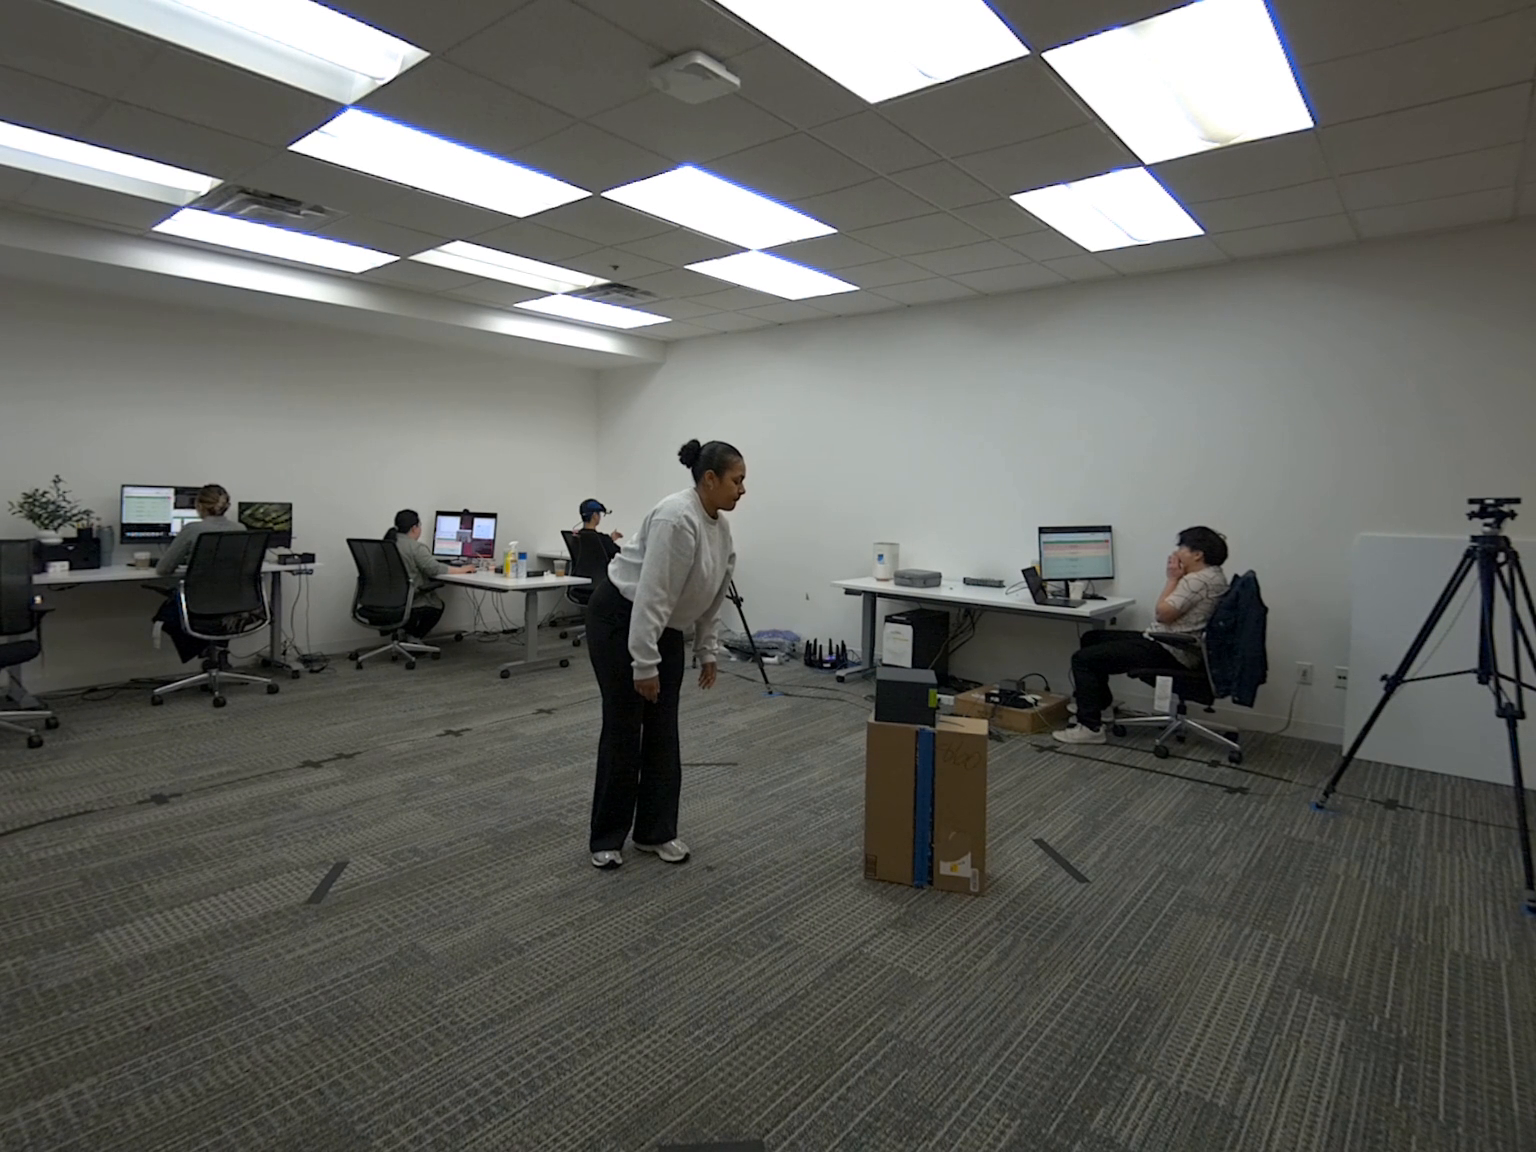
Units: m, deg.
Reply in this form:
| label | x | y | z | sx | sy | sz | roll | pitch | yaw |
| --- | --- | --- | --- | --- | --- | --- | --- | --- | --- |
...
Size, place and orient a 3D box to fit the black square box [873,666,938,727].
| label | x | y | z | sx | sy | sz | roll | pitch | yaw |
| --- | --- | --- | --- | --- | --- | --- | --- | --- | --- |
| black square box | 0.498 | 0.433 | 3.128 | 0.220 | 0.155 | 0.226 | 3 | 5 | 10 |
